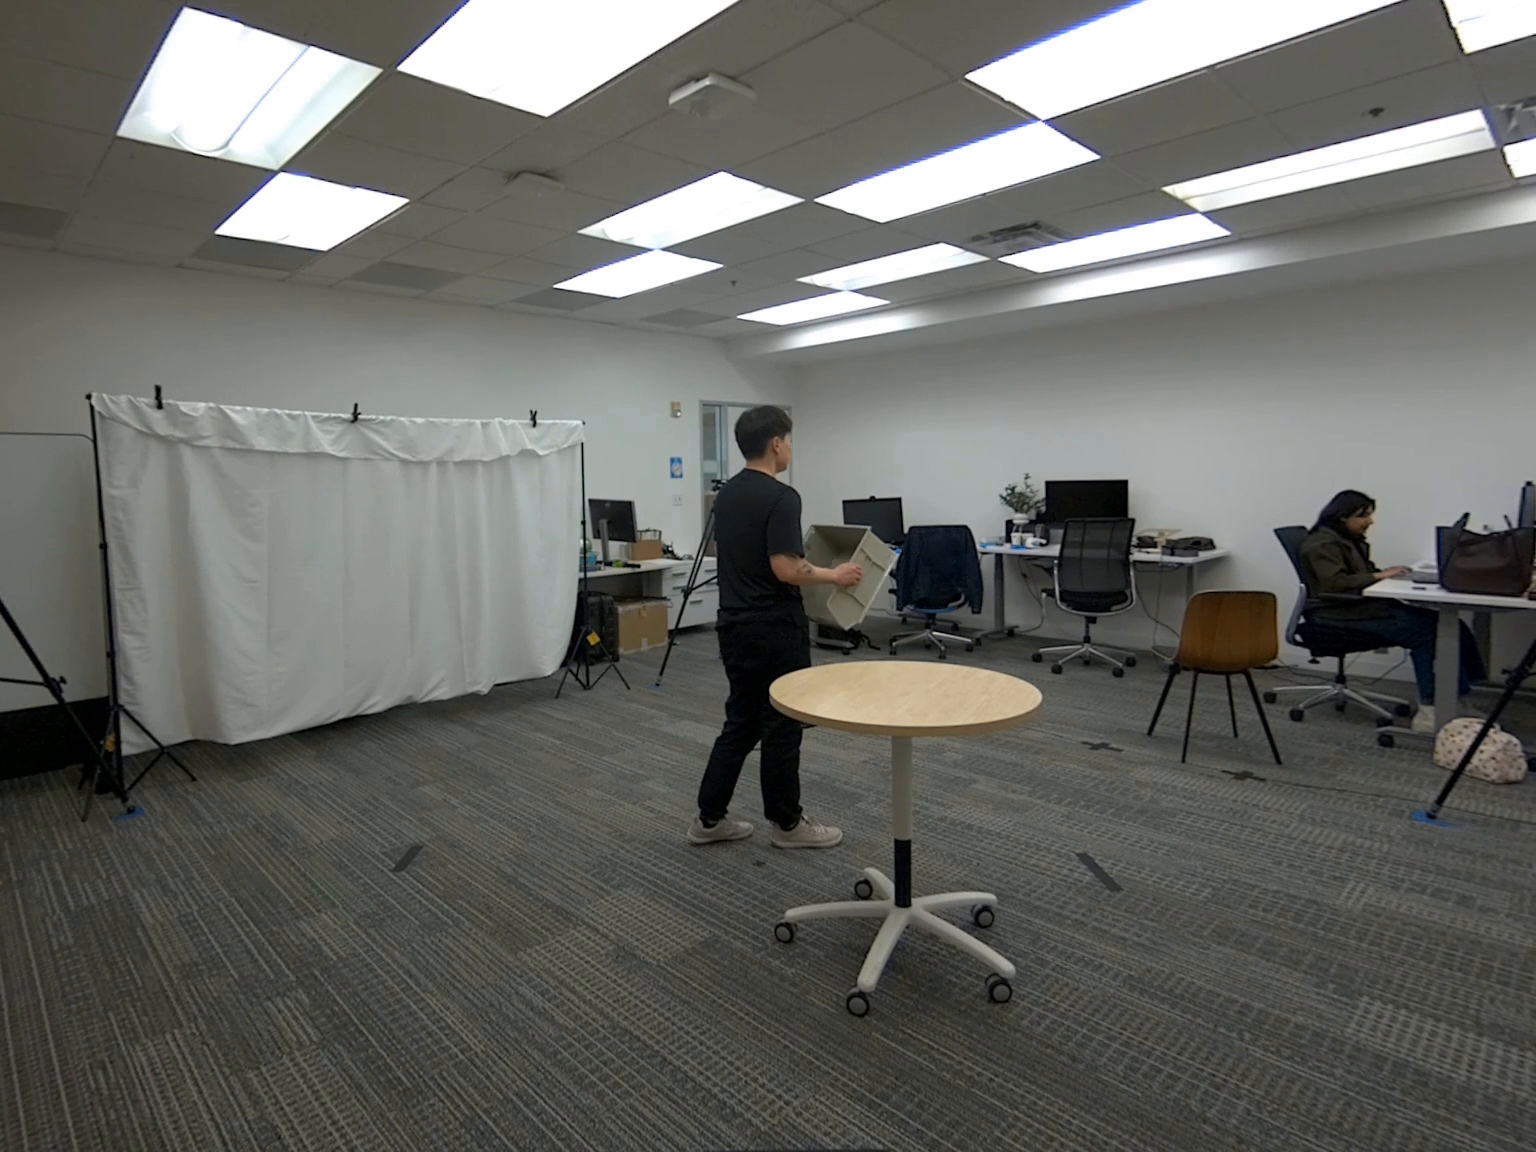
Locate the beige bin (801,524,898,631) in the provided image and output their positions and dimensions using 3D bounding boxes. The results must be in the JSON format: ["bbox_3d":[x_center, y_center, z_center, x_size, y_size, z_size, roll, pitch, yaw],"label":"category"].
[{"bbox_3d":[0.249,0.005,3.407,0.183,0.378,0.433,38,-13,-25],"label":"beige bin"}]
